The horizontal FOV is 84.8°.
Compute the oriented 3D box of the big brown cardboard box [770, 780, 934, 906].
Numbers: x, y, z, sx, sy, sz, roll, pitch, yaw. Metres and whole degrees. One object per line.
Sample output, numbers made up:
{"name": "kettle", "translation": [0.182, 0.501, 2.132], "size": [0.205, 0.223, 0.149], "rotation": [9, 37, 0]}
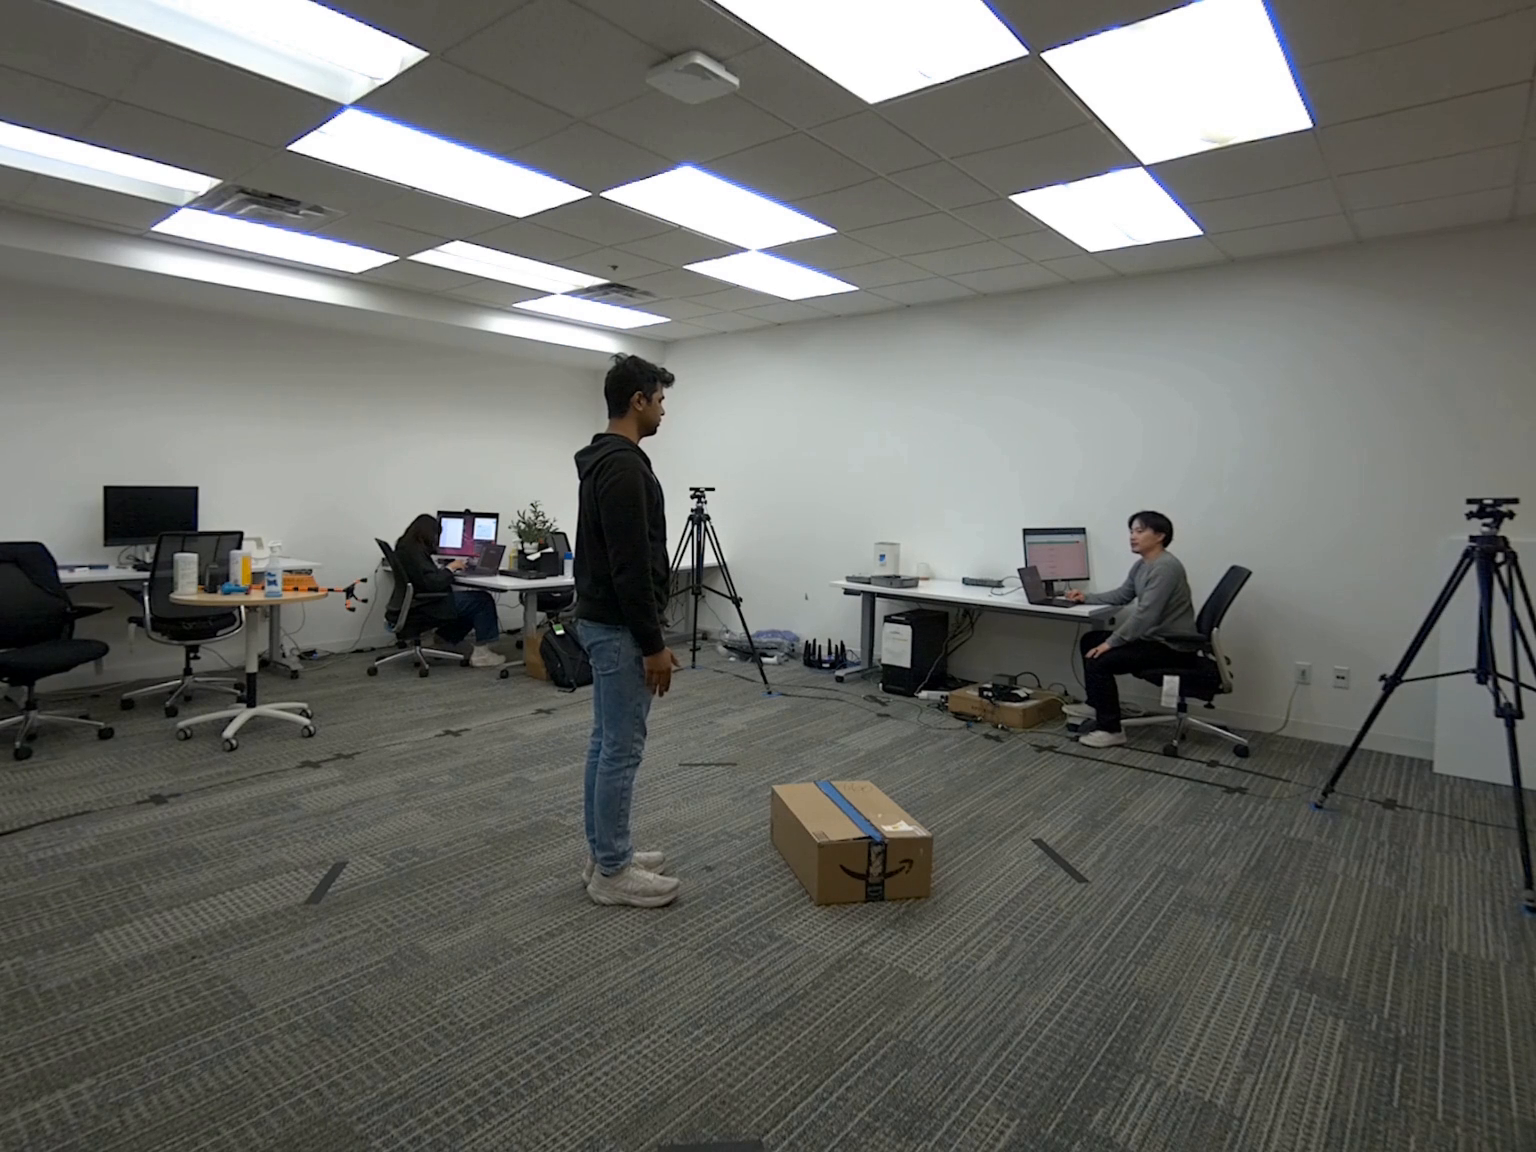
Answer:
{"name": "big brown cardboard box", "translation": [0.280, 0.960, 3.144], "size": [0.411, 0.232, 0.600], "rotation": [0, 4, -15]}
